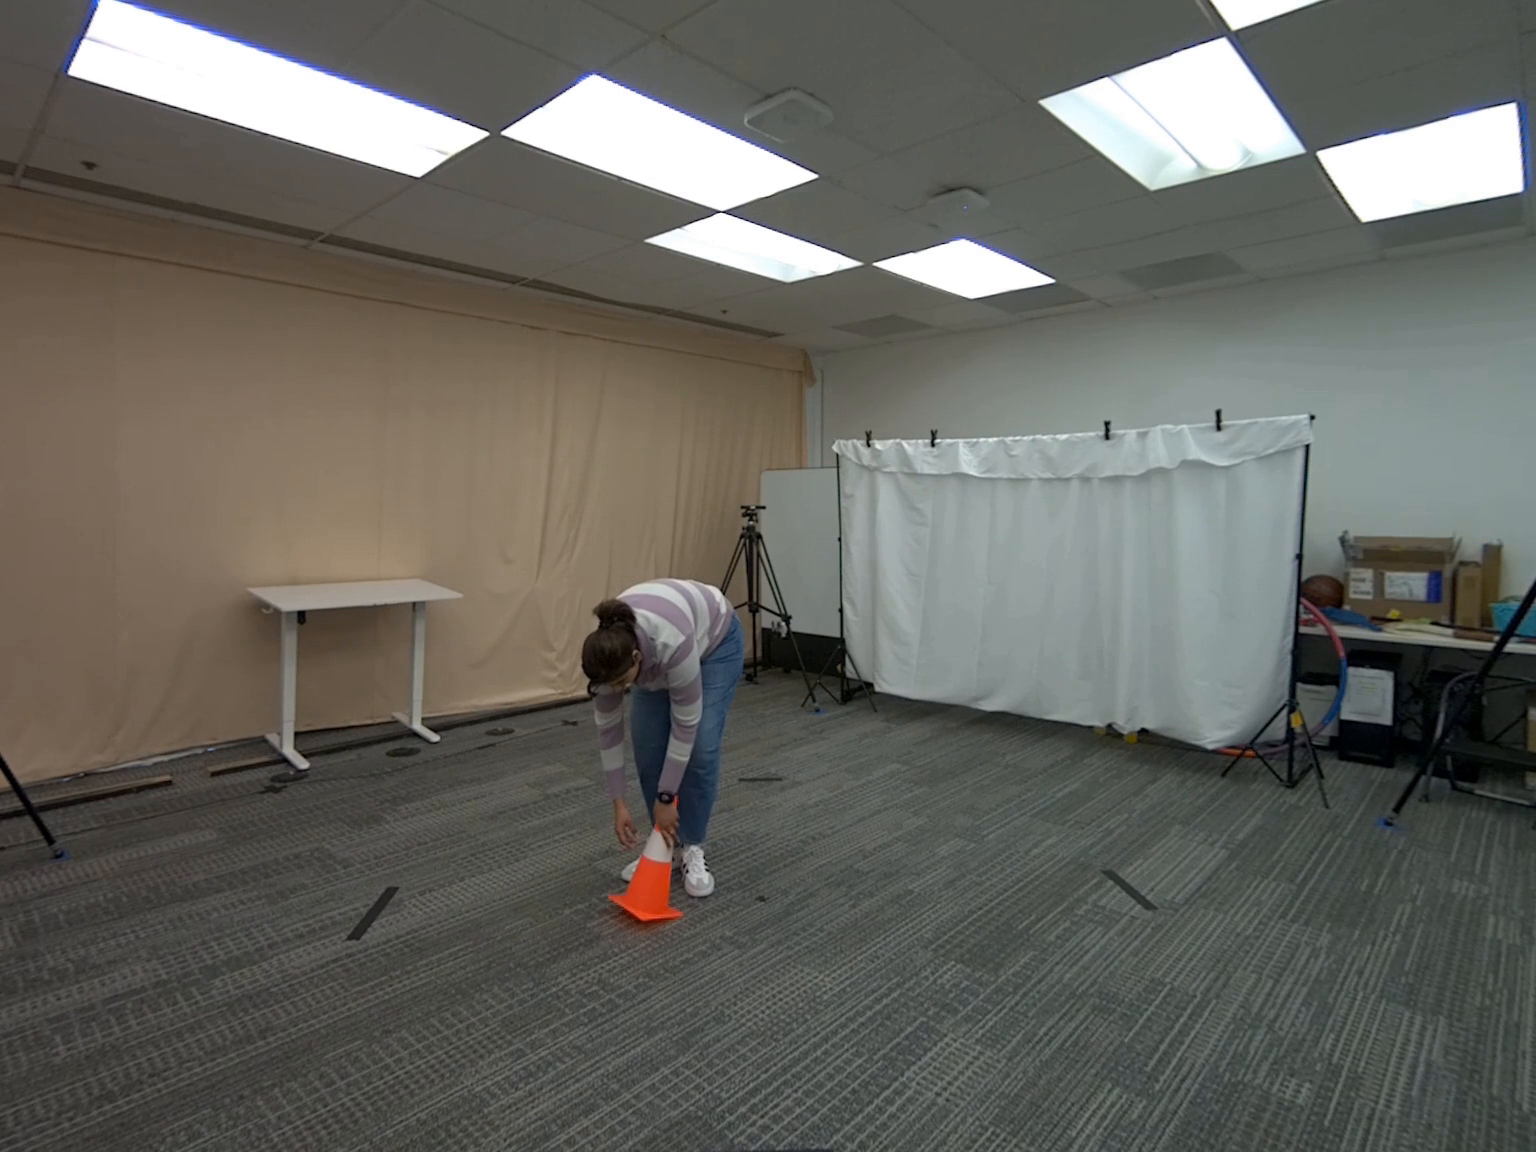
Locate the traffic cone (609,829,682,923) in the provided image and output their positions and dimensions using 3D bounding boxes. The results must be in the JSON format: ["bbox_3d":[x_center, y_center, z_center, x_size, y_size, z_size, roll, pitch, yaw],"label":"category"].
[{"bbox_3d":[-0.372,0.945,2.894,0.210,0.384,0.198,10,-5,37],"label":"traffic cone"}]
